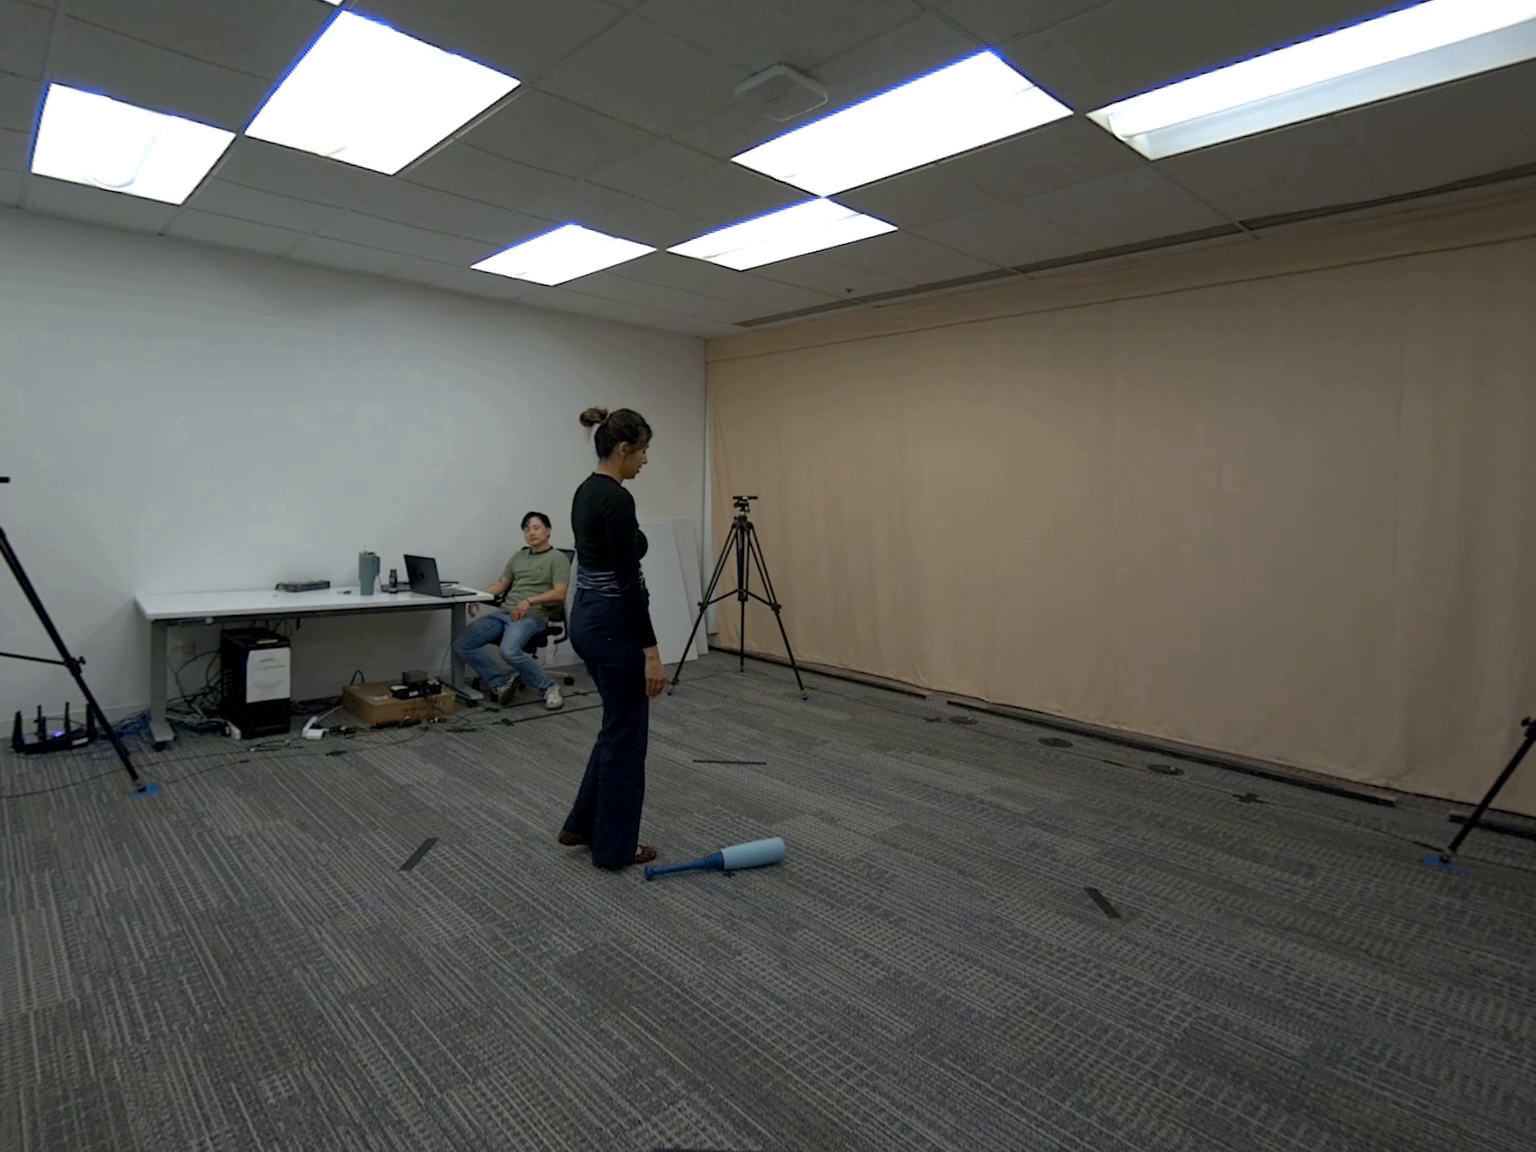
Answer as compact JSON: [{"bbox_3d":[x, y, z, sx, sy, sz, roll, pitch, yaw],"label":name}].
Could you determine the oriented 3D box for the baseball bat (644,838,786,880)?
[{"bbox_3d":[-0.197,1.066,3.129,0.536,0.089,0.090,-5,6,-18],"label":"baseball bat"}]
